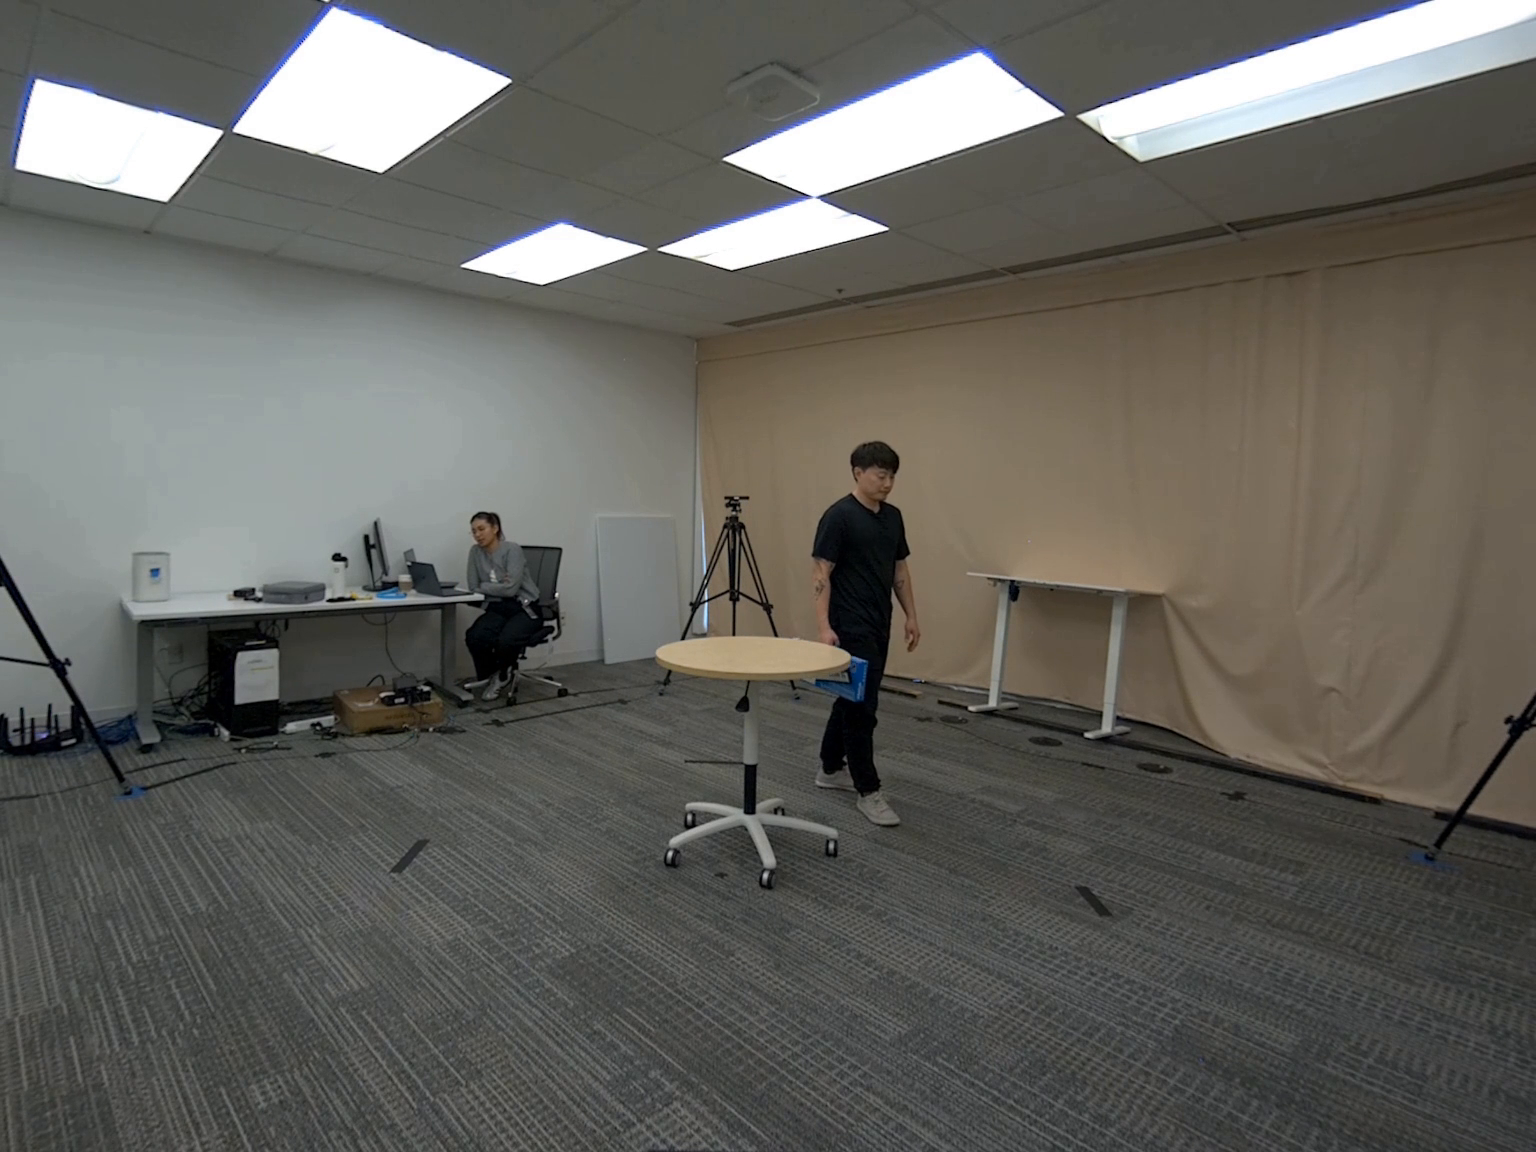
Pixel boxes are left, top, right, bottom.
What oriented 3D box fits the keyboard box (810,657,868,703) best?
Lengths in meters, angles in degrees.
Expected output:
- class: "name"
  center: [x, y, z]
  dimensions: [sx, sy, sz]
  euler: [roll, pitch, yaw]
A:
- class: "keyboard box"
  center: [0.250, 0.409, 3.718]
  dimensions: [0.058, 0.175, 0.449]
  euler: [-1, 10, -40]
